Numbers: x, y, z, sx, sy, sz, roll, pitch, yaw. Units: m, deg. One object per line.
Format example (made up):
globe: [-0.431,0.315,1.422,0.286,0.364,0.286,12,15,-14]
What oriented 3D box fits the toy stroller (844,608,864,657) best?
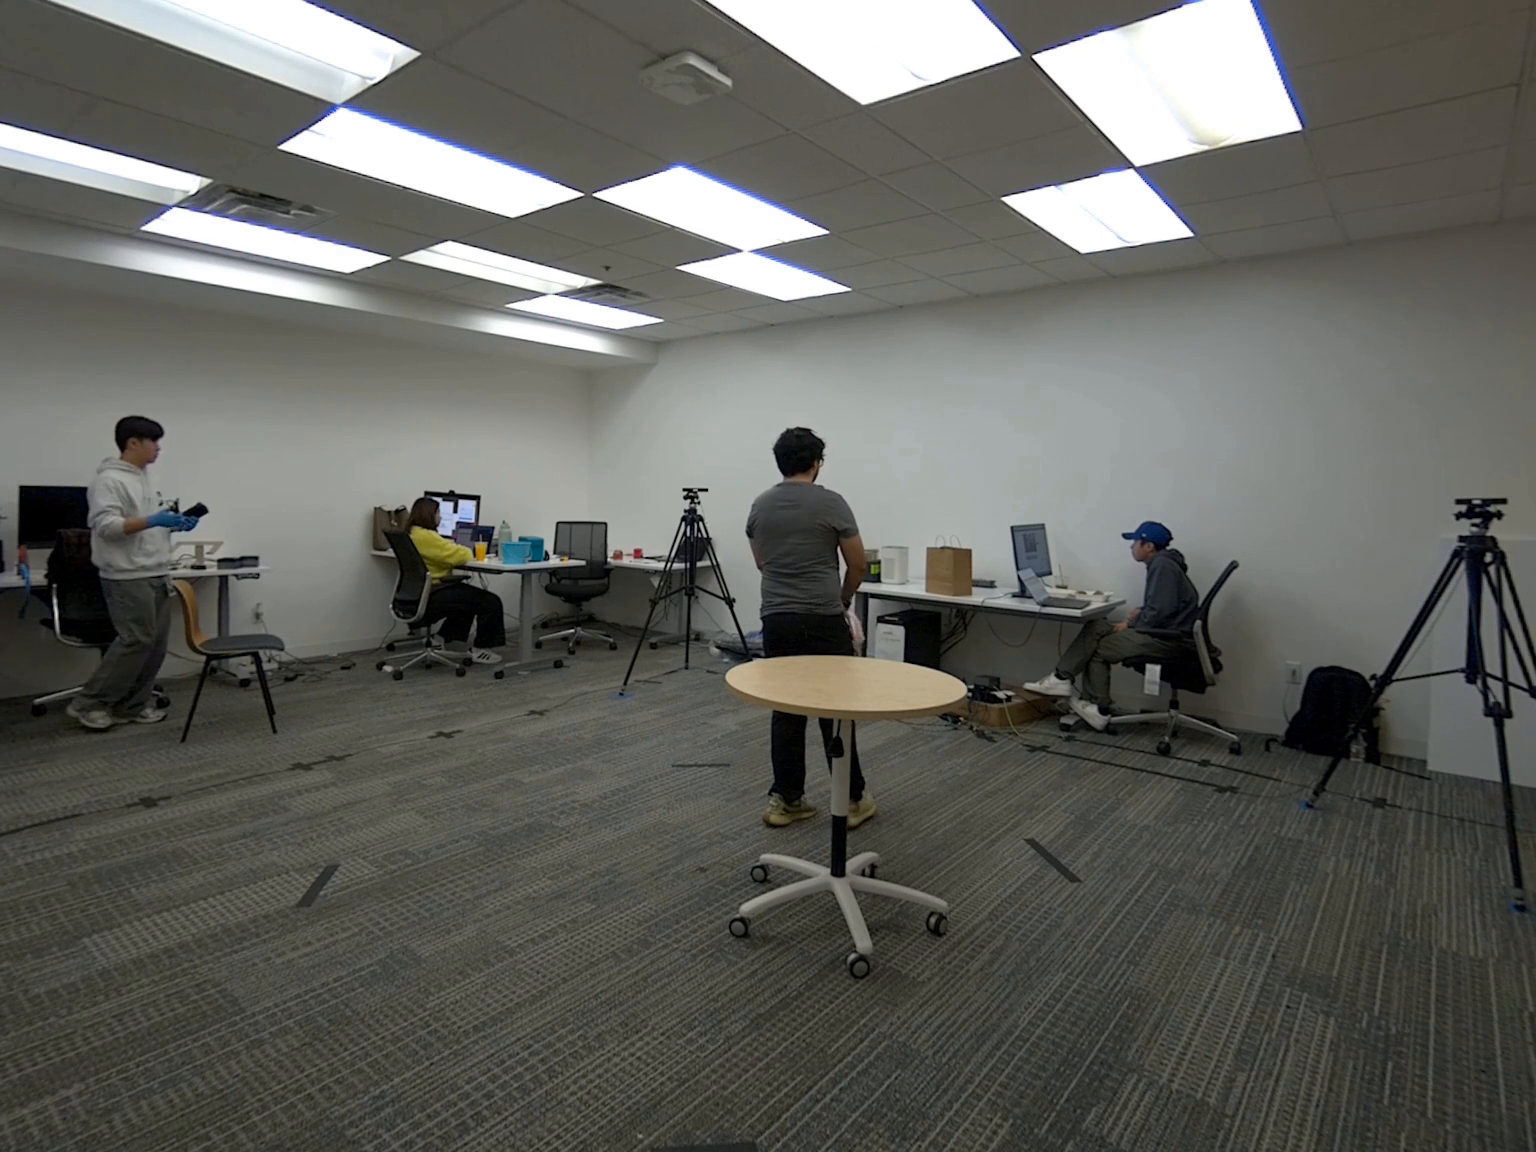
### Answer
toy stroller: [0.301,0.394,3.947,0.290,0.536,0.331,1,-1,33]
